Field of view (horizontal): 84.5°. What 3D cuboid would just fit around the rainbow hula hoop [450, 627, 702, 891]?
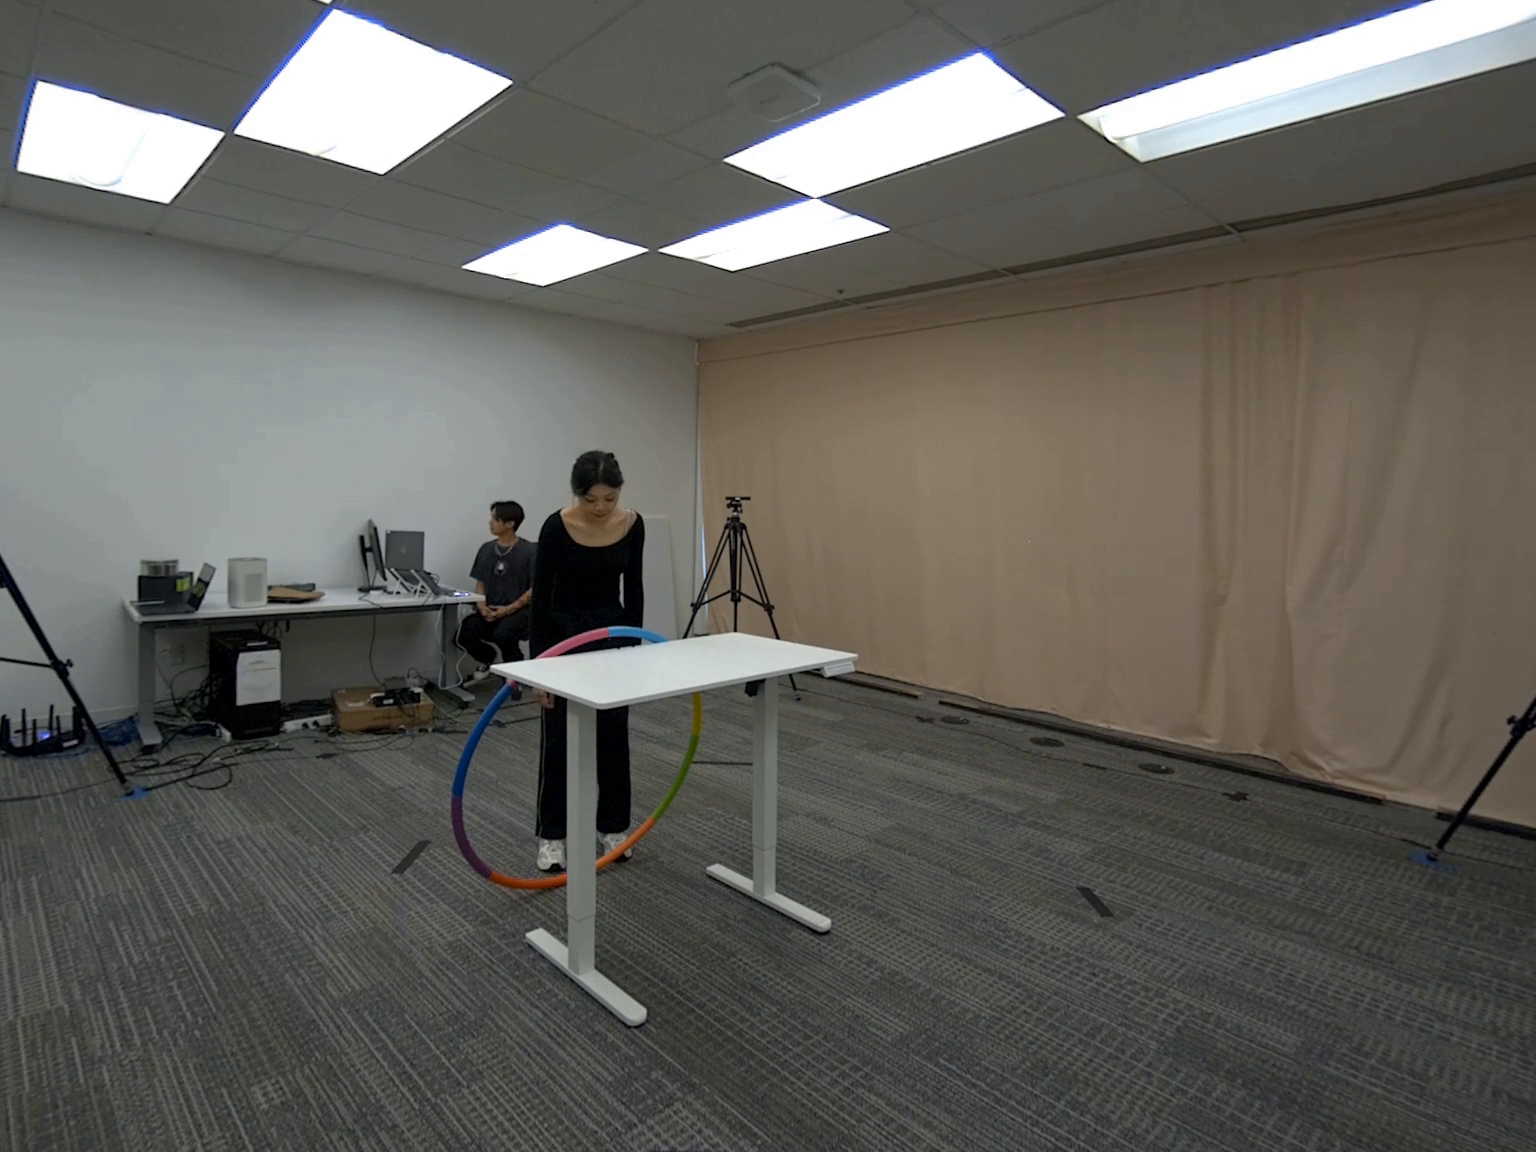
[{"bbox_3d":[-0.629,0.638,2.914,0.956,0.971,0.036,-3,20,-44],"label":"rainbow hula hoop"}]
